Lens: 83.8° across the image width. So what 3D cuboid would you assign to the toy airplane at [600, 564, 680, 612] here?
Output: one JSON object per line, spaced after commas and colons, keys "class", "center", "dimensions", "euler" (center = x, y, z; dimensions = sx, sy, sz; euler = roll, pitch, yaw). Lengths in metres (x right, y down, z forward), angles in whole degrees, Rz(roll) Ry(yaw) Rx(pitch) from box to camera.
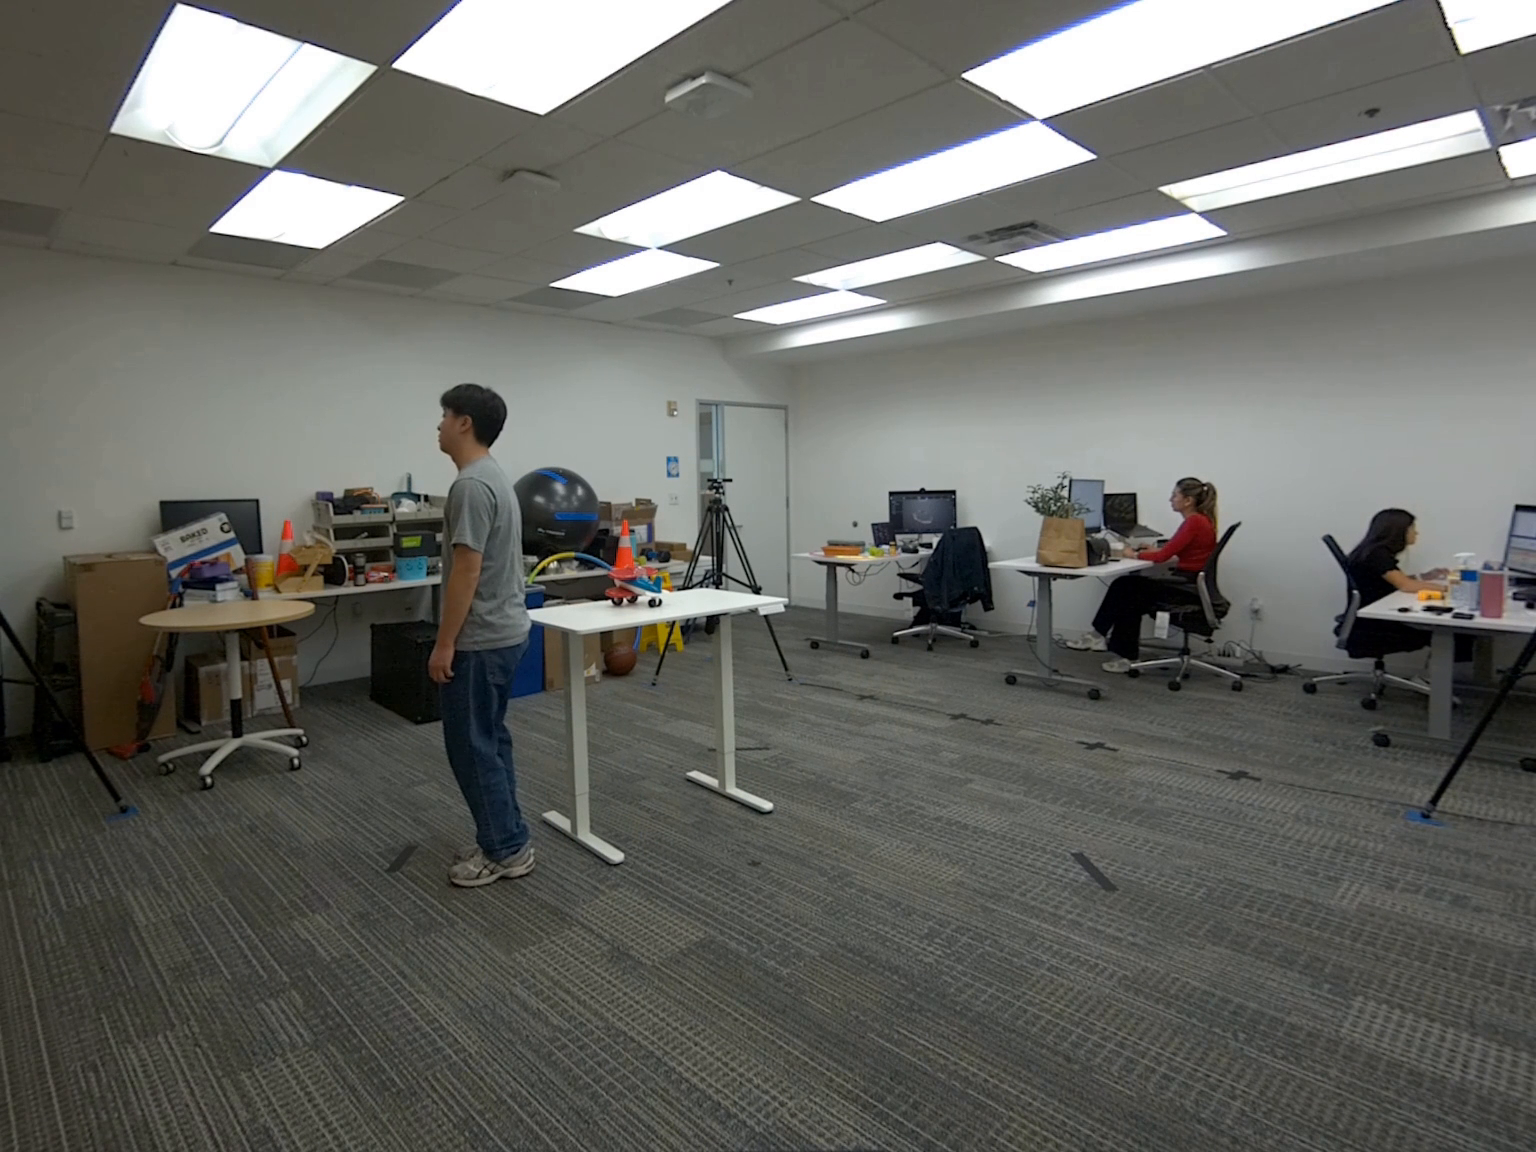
{"class": "toy airplane", "center": [-0.529, 0.044, 3.559], "dimensions": [0.262, 0.156, 0.250], "euler": [-2, 6, 10]}
